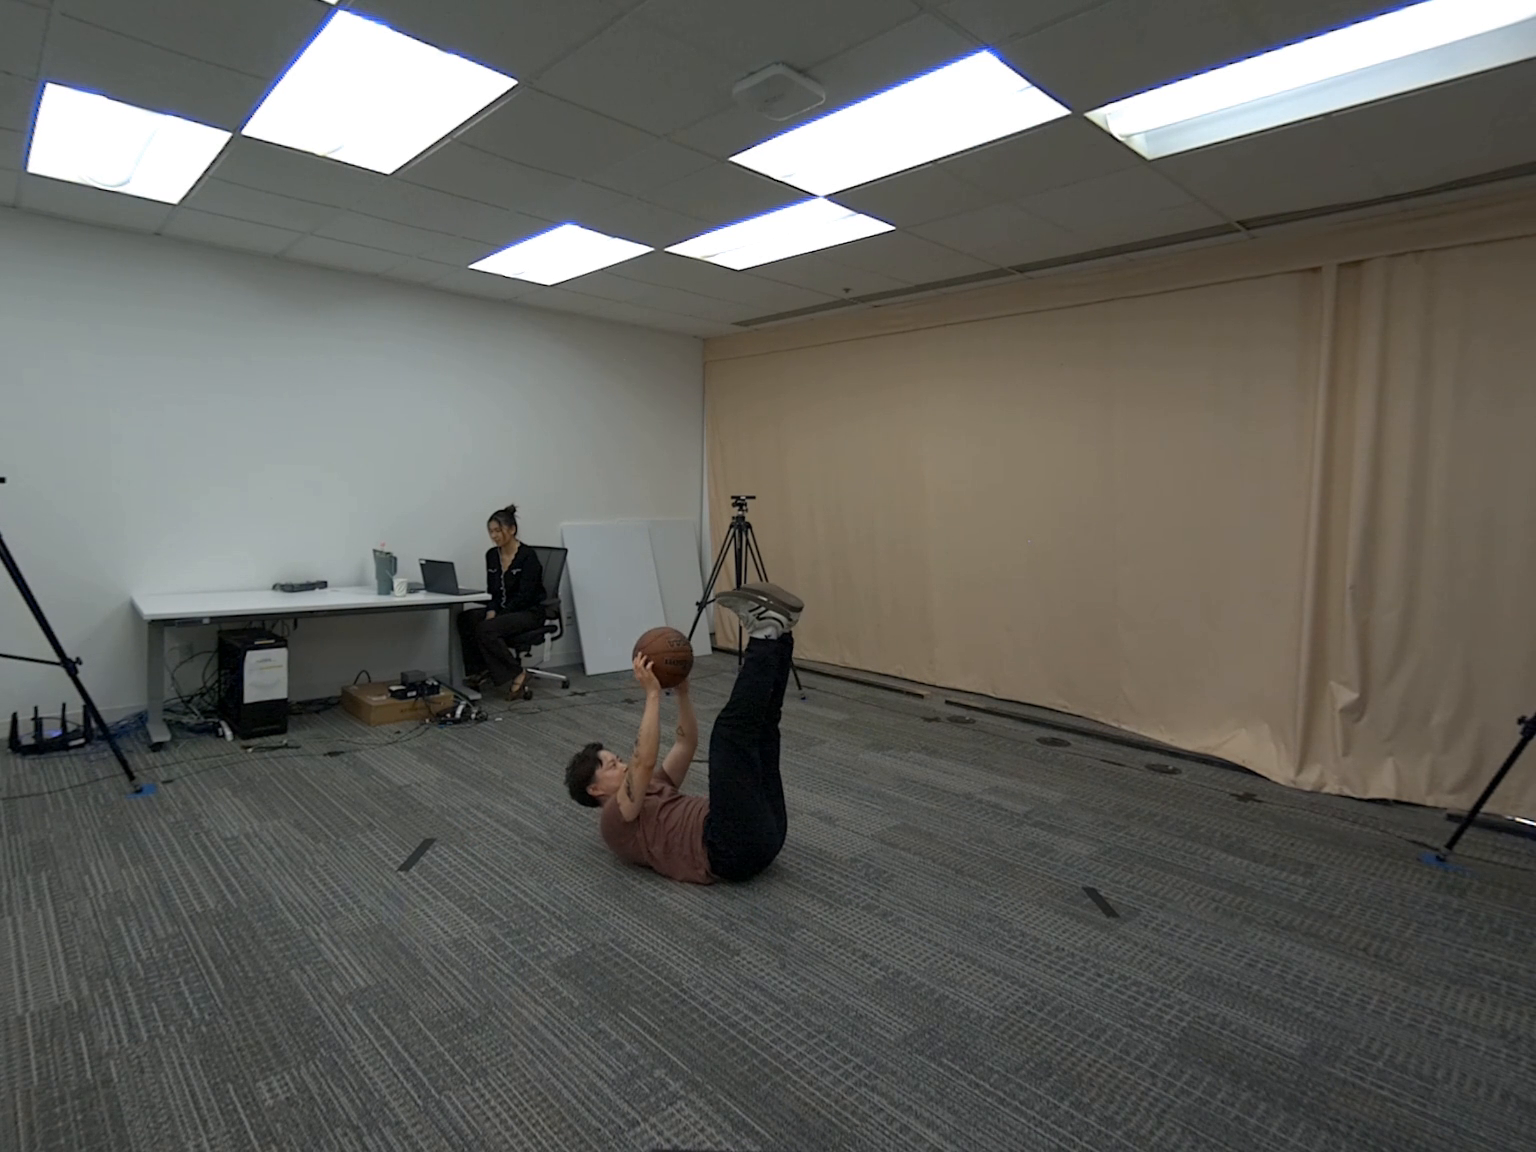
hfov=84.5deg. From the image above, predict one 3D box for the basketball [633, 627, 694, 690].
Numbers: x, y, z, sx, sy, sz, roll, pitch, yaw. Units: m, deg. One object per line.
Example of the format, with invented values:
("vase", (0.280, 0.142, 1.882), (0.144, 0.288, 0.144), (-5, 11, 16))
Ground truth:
("basketball", (-0.404, 0.314, 3.235), (0.236, 0.234, 0.237), (0, 8, -1))
